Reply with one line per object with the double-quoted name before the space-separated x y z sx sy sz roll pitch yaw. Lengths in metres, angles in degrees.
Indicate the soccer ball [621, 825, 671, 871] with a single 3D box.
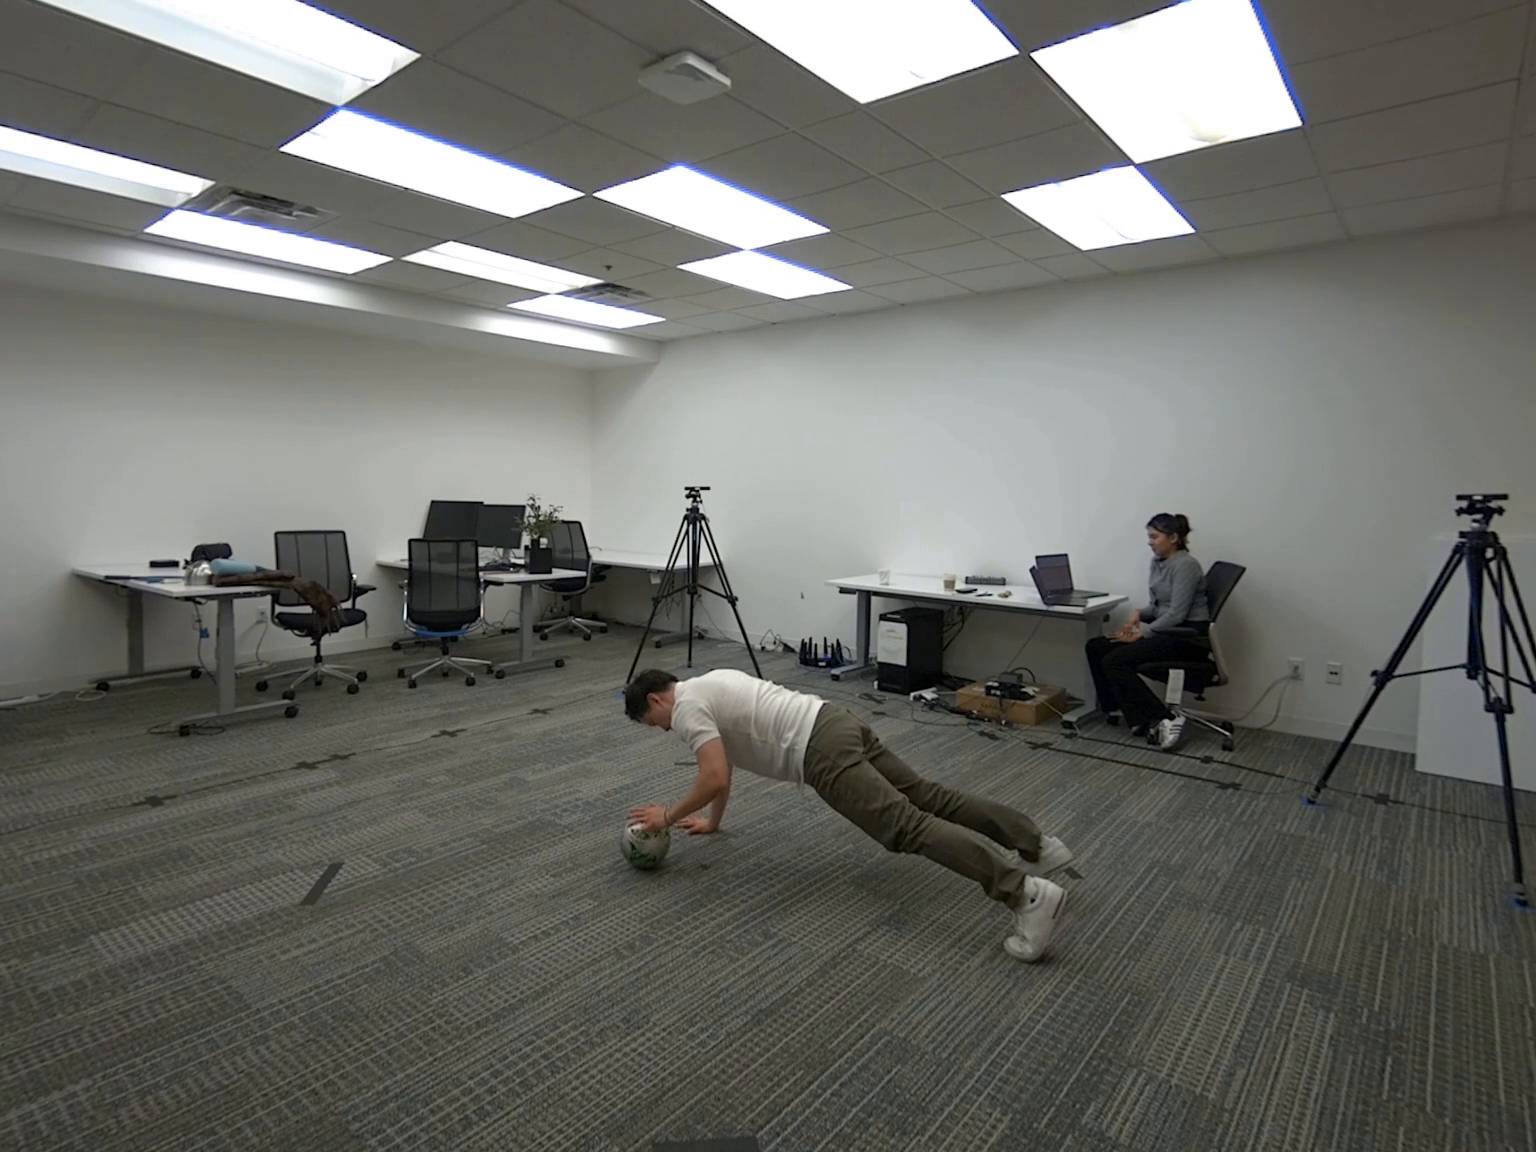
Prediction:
"soccer ball" -0.458 0.965 3.118 0.187 0.187 0.188 1 4 -2
